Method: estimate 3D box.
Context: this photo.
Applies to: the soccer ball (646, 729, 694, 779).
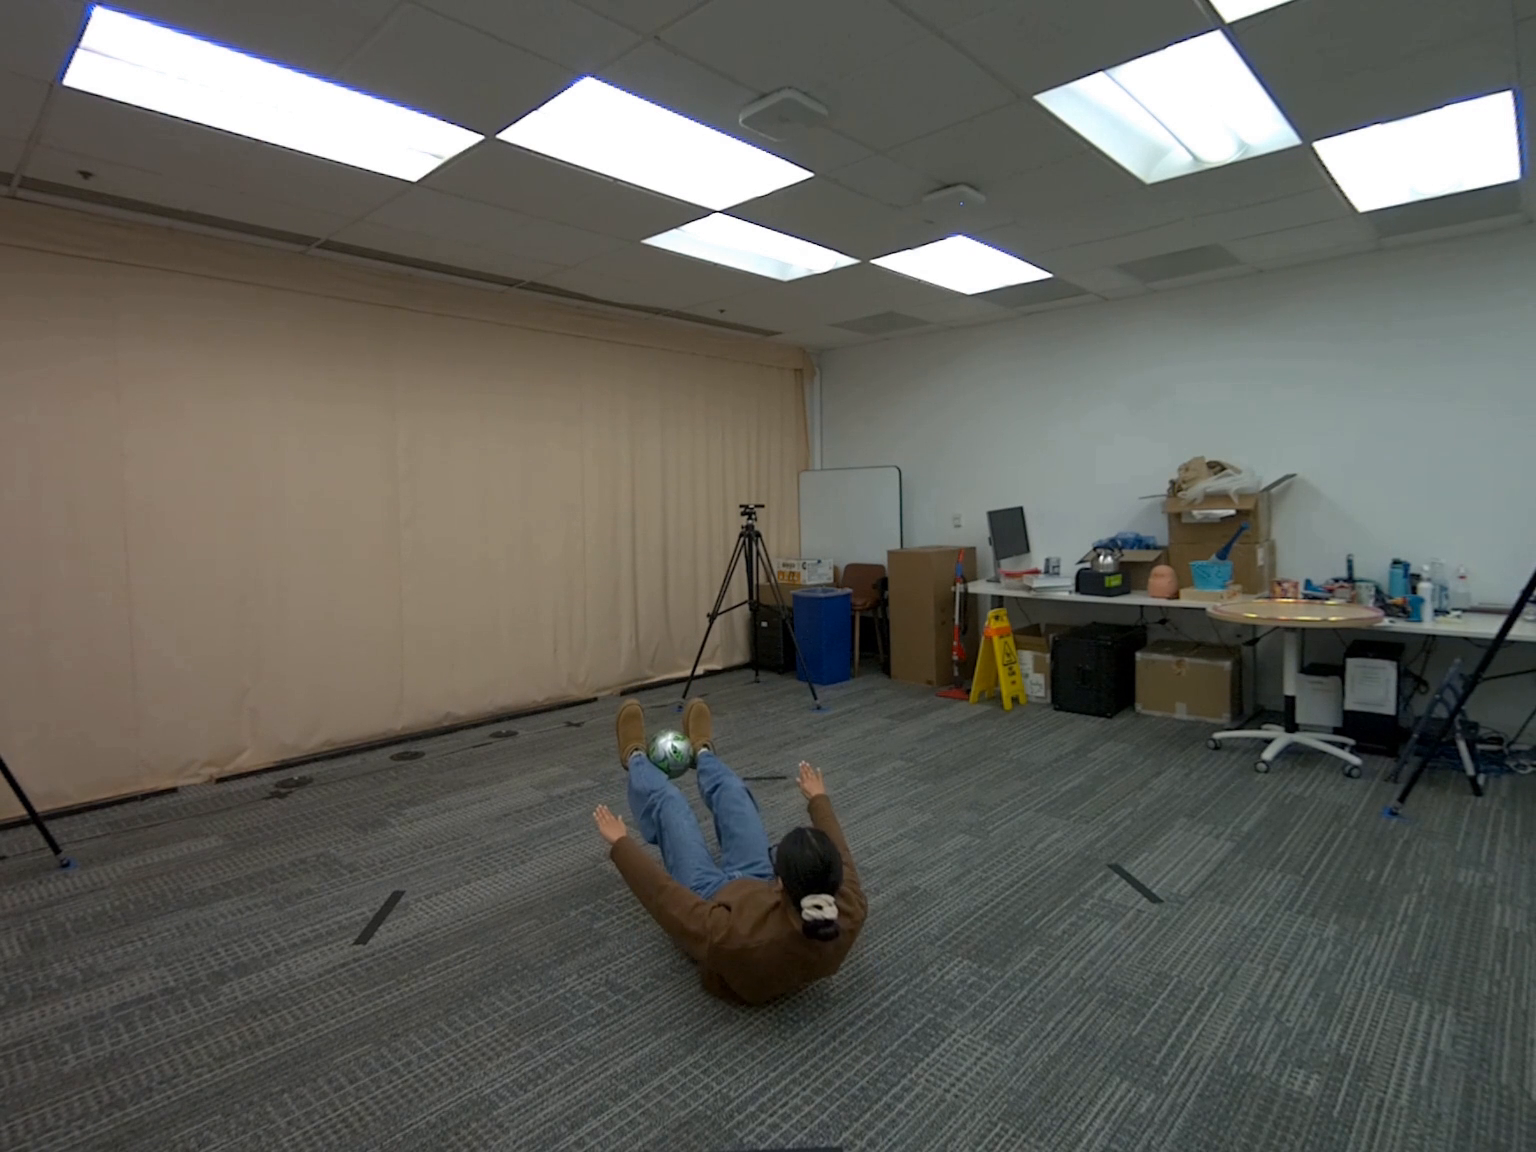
[{"bbox_3d":[-0.380,0.689,3.255,0.187,0.187,0.188,-1,4,-2],"label":"soccer ball"}]
